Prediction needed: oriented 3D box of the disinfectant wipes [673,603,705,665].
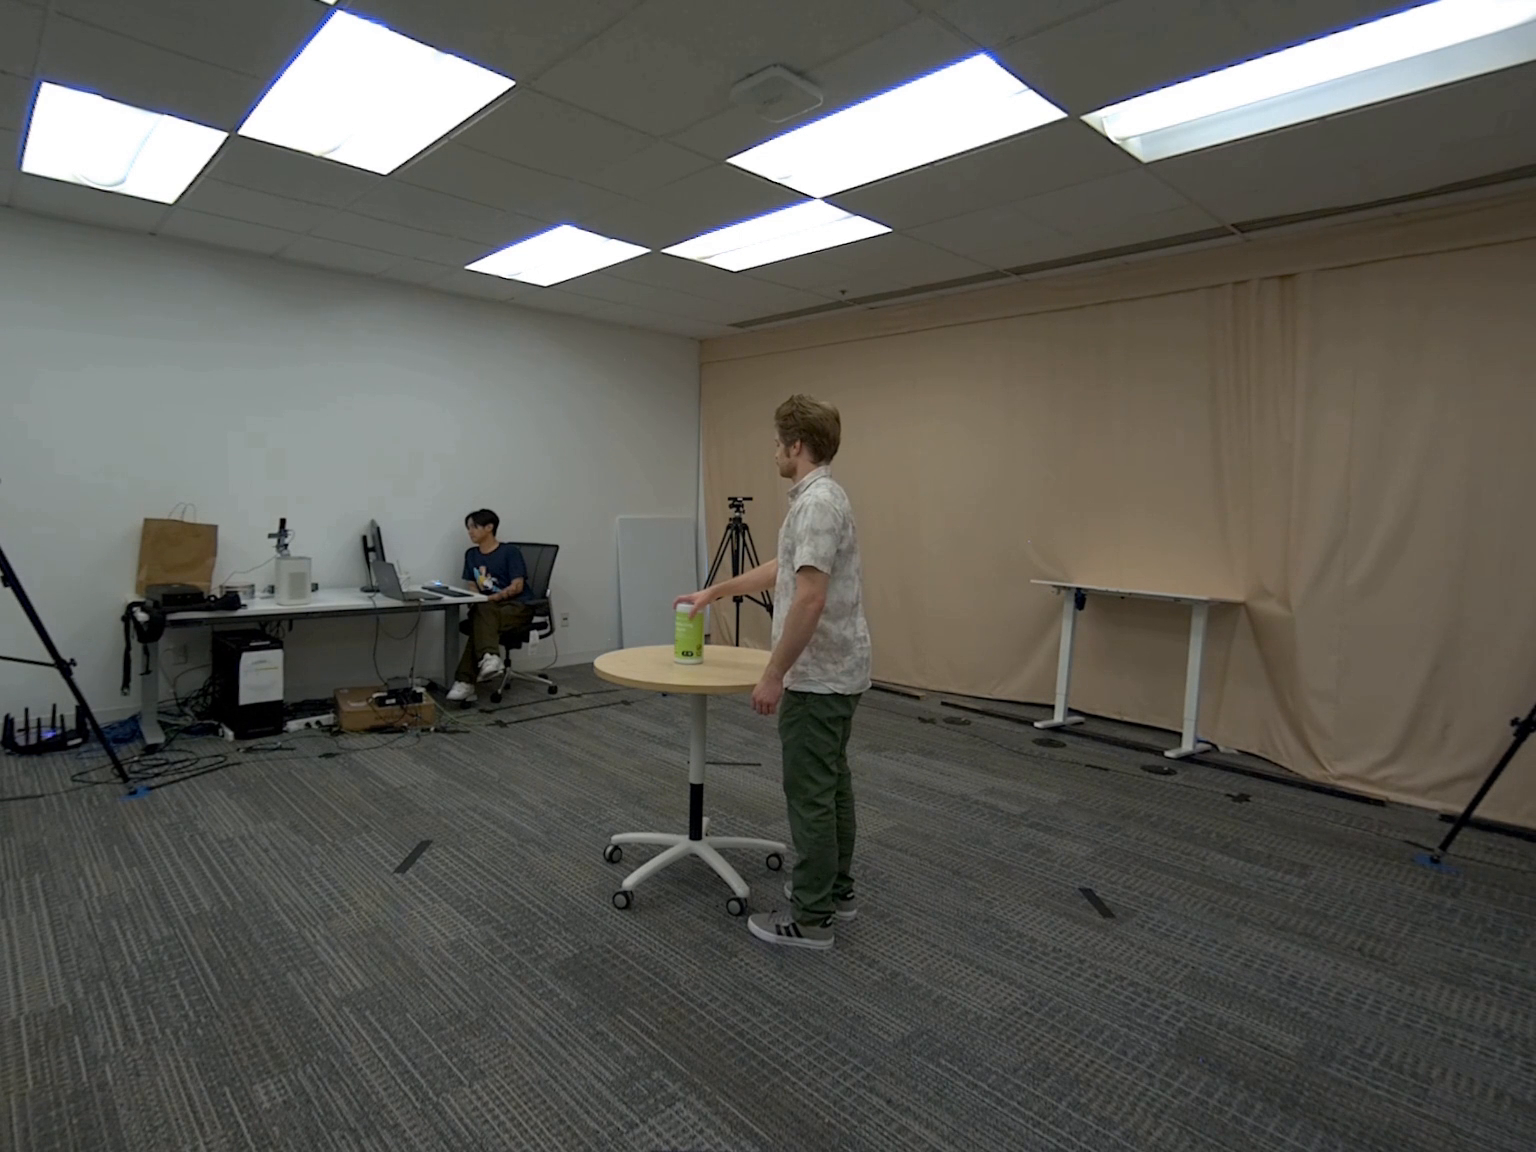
[{"bbox_3d":[-0.294,0.210,3.066,0.118,0.217,0.118,0,3,-1],"label":"disinfectant wipes"}]
